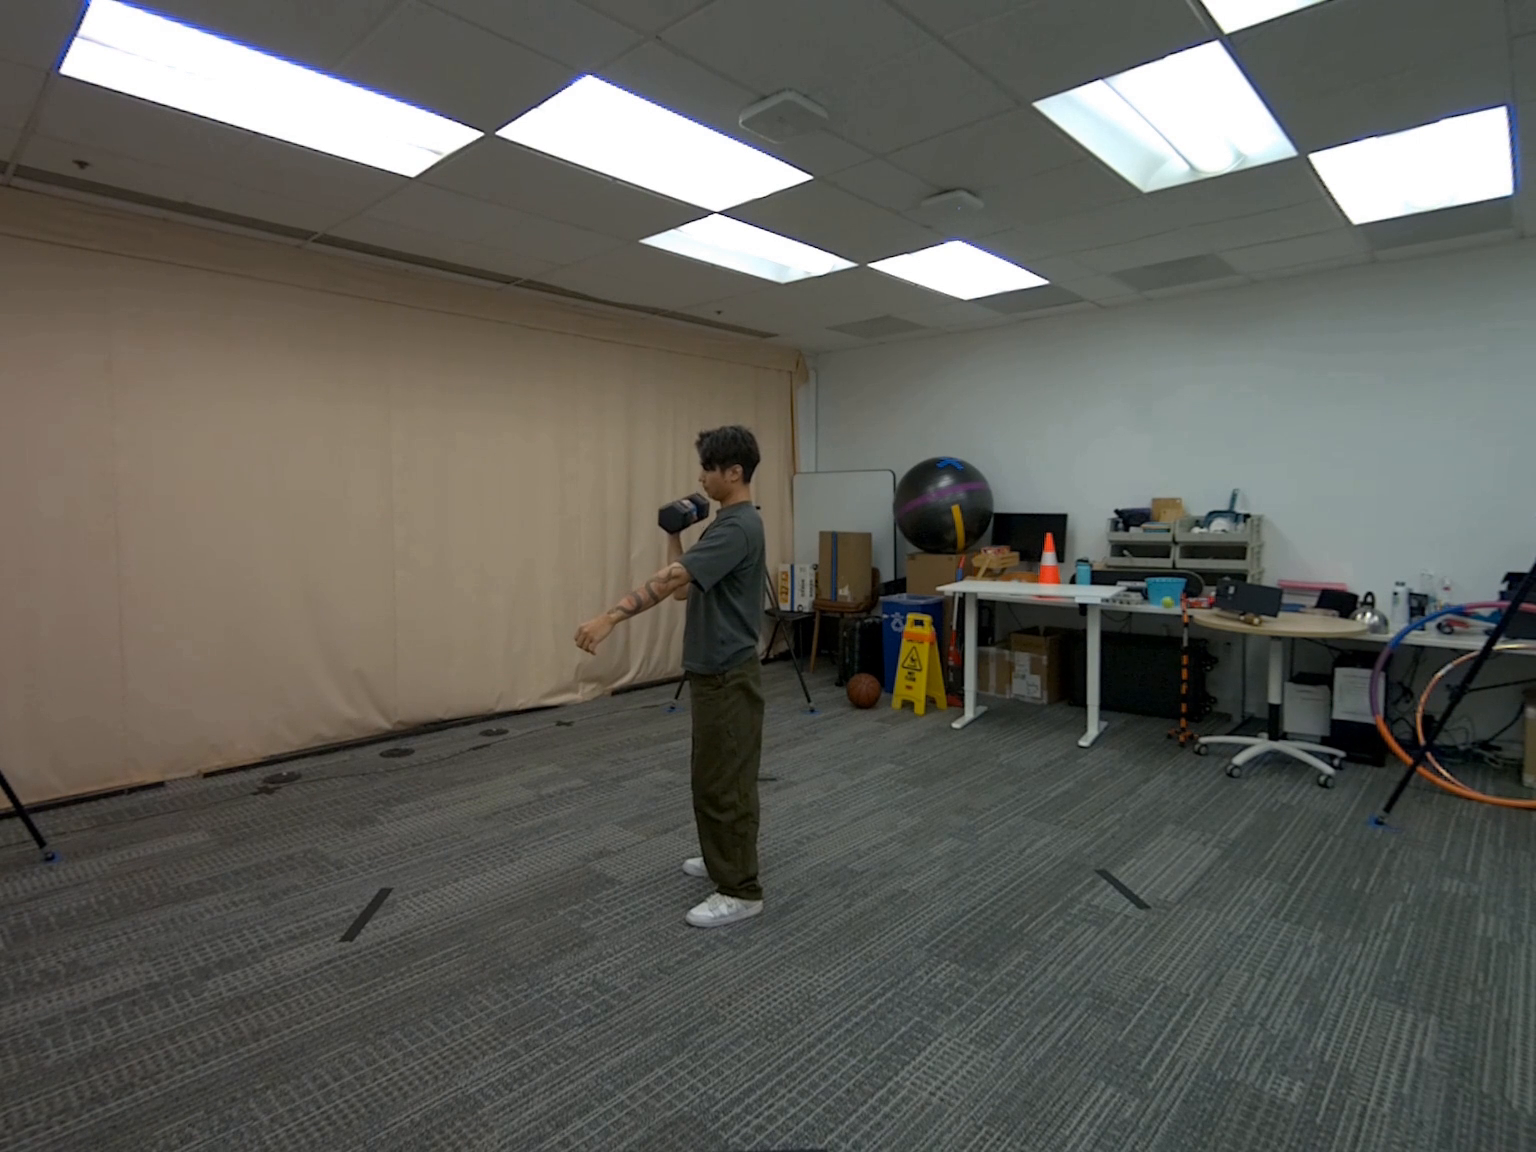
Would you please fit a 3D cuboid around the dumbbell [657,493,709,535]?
[{"bbox_3d":[-0.312,-0.237,3.135,0.124,0.108,0.291,-22,6,18],"label":"dumbbell"}]
